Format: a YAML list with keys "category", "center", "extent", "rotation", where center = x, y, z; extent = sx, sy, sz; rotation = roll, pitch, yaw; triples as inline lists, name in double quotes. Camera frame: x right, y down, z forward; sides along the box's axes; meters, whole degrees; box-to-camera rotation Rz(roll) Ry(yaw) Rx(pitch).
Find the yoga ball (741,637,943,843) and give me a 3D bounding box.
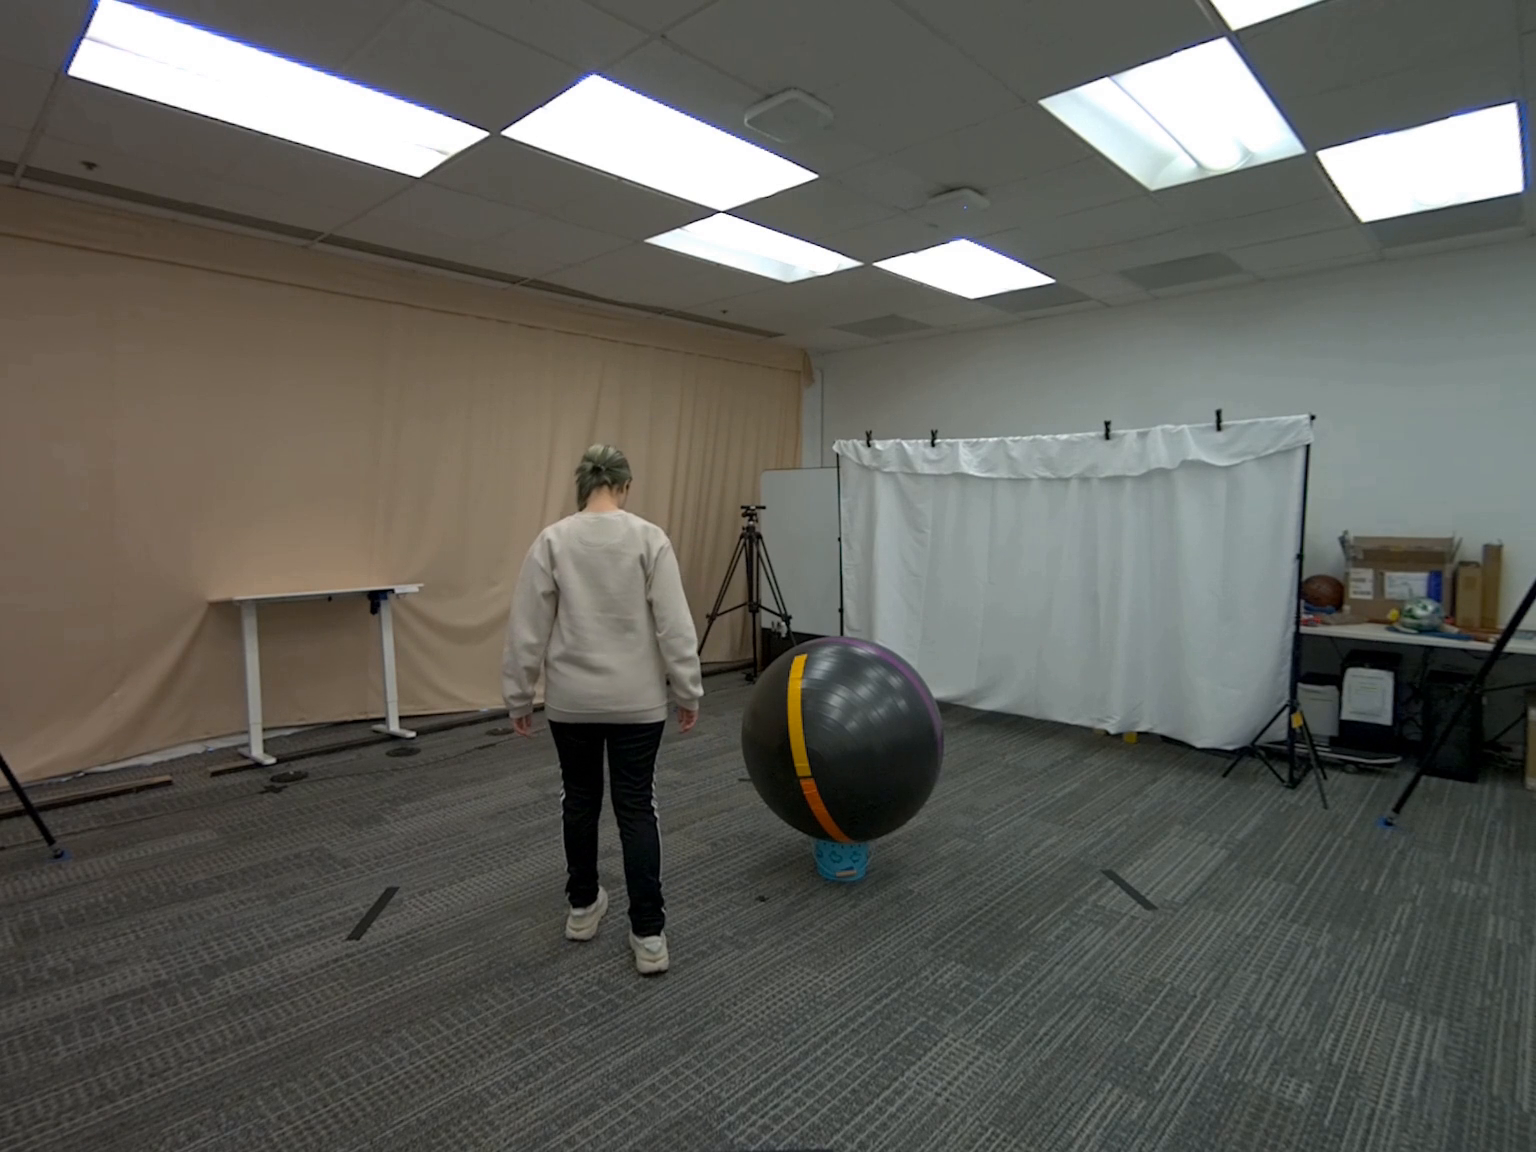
- category: "yoga ball"
  center: [0.278, 0.611, 3.188]
  extent: [0.757, 0.756, 0.761]
  rotation: [0, 4, -2]
